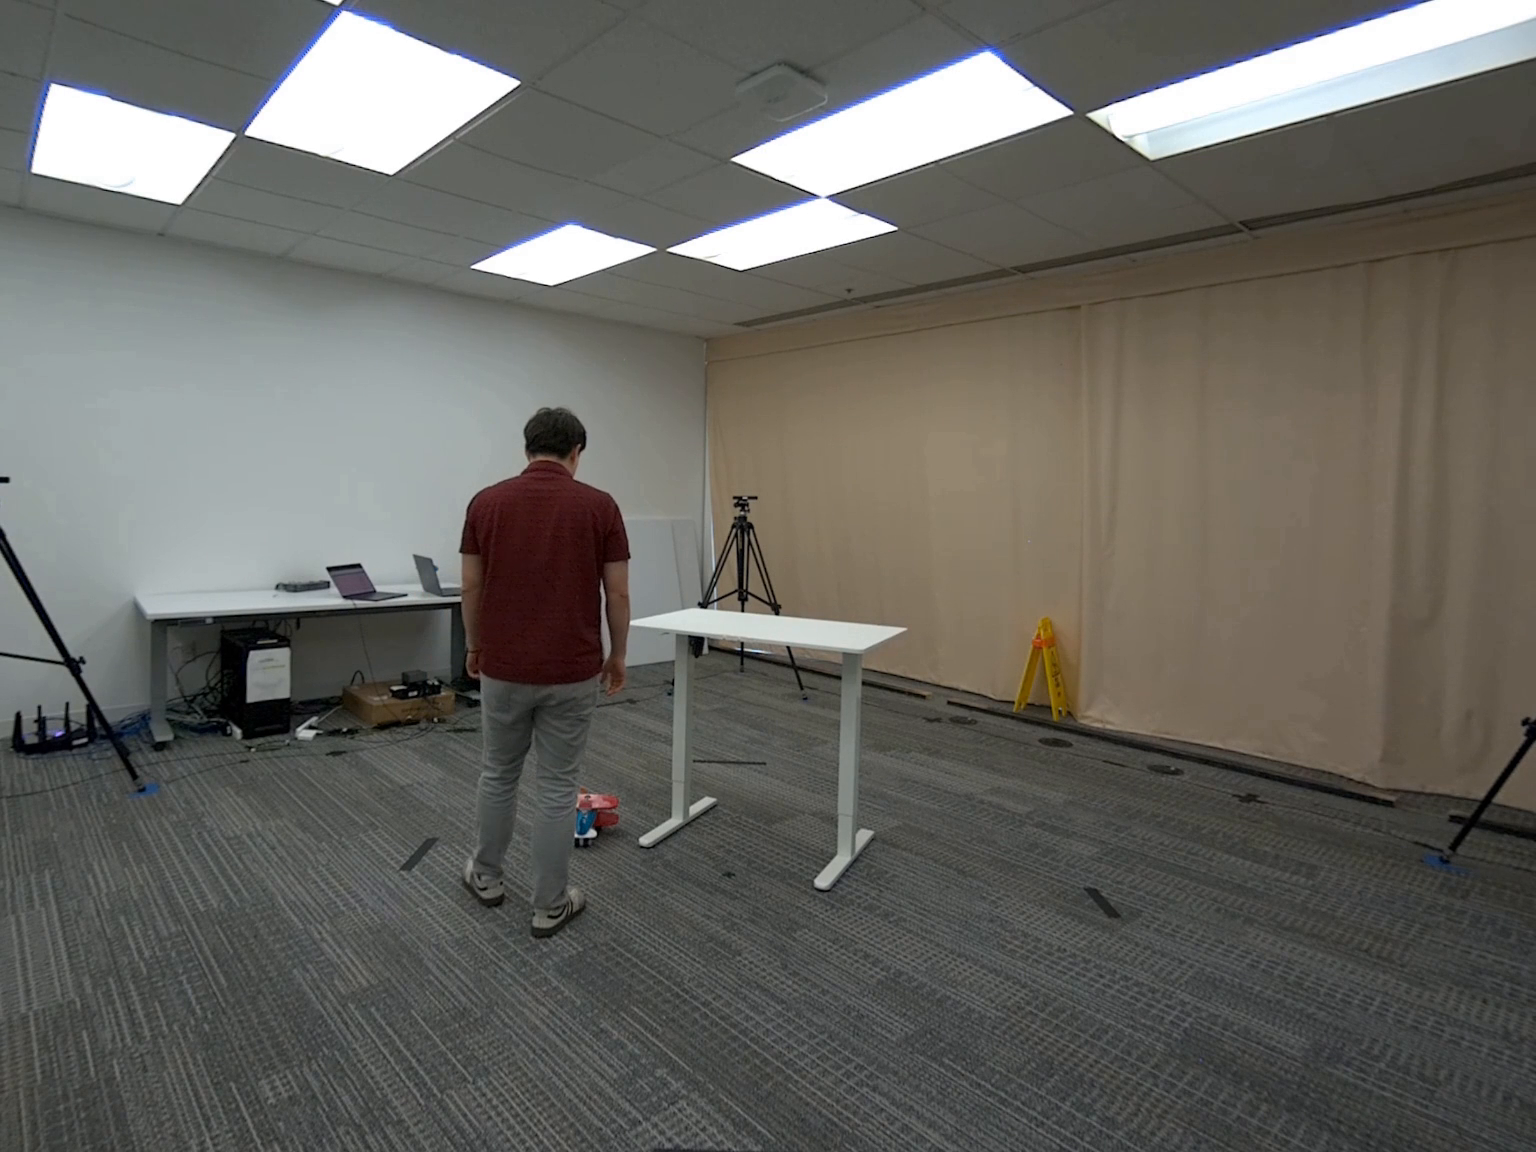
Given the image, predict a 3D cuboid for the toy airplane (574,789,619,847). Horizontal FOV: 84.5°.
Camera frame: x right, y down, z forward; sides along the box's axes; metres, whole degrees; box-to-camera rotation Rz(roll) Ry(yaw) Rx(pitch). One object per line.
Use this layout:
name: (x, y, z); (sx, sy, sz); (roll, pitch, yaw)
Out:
toy airplane: (-0.736, 0.991, 3.415); (0.246, 0.156, 0.265); (0, 4, -28)
